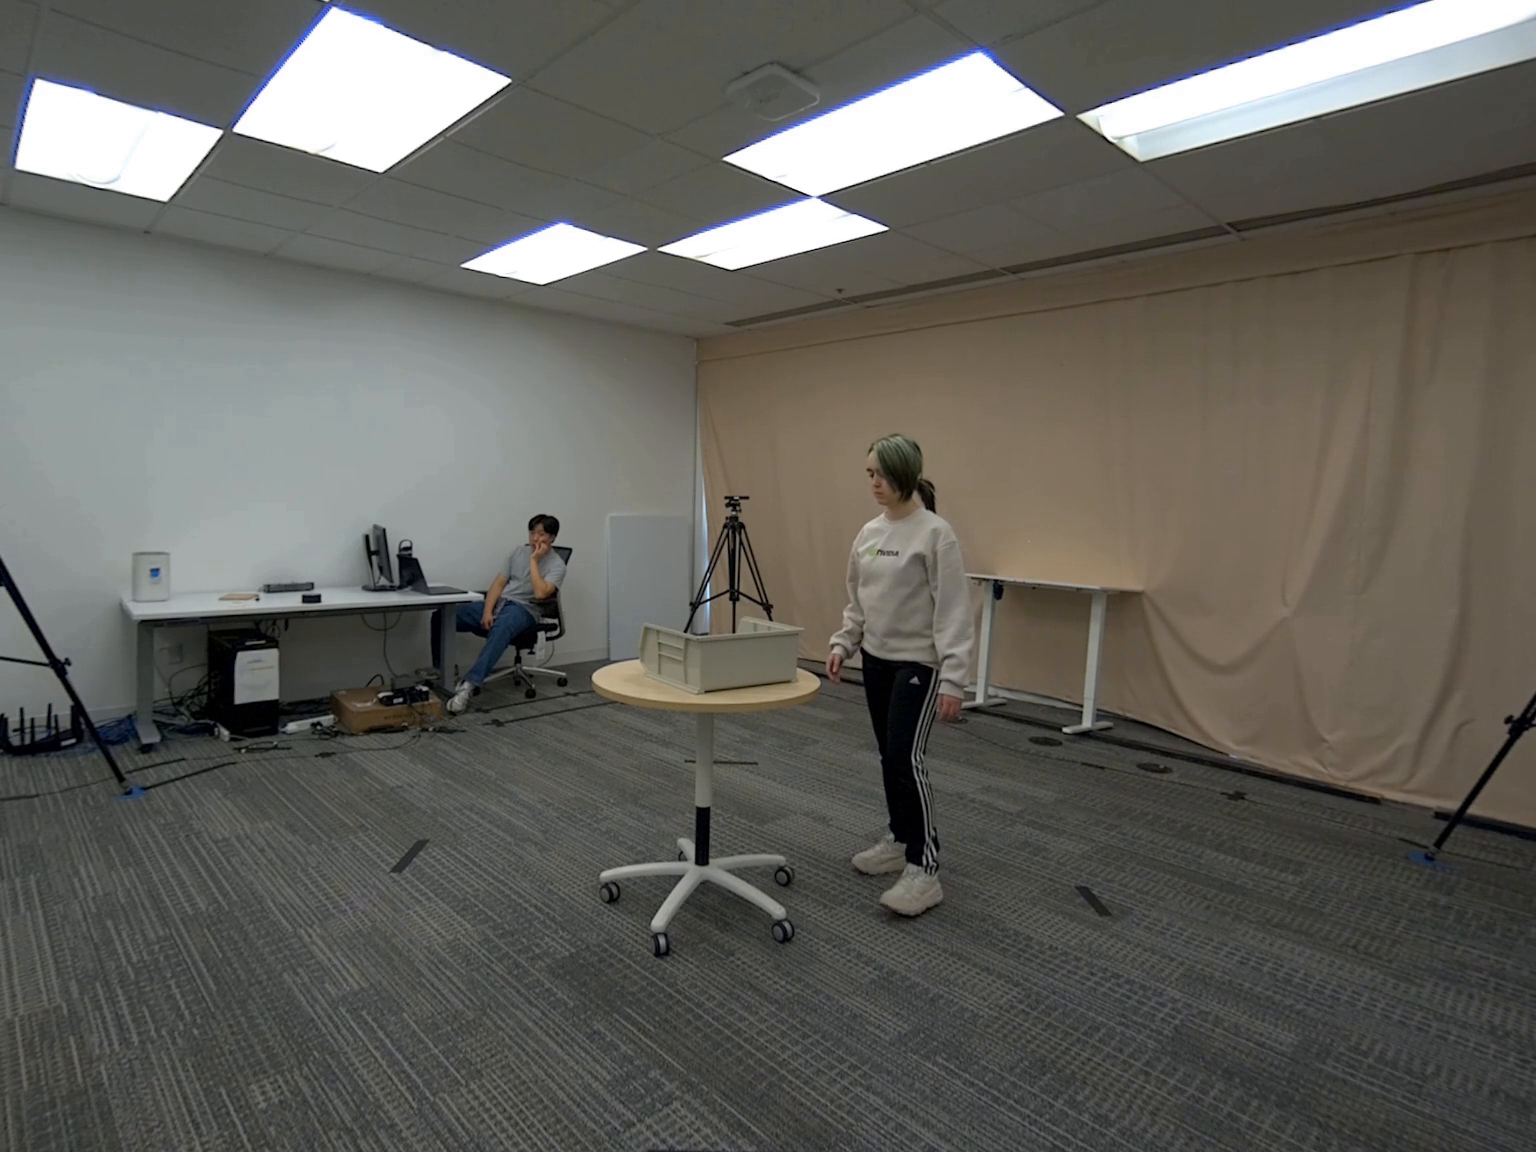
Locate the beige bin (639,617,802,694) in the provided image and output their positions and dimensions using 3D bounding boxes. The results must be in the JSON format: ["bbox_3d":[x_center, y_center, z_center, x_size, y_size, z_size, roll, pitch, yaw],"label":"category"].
[{"bbox_3d":[-0.170,0.257,2.823,0.413,0.188,0.387,-1,6,-36],"label":"beige bin"}]
